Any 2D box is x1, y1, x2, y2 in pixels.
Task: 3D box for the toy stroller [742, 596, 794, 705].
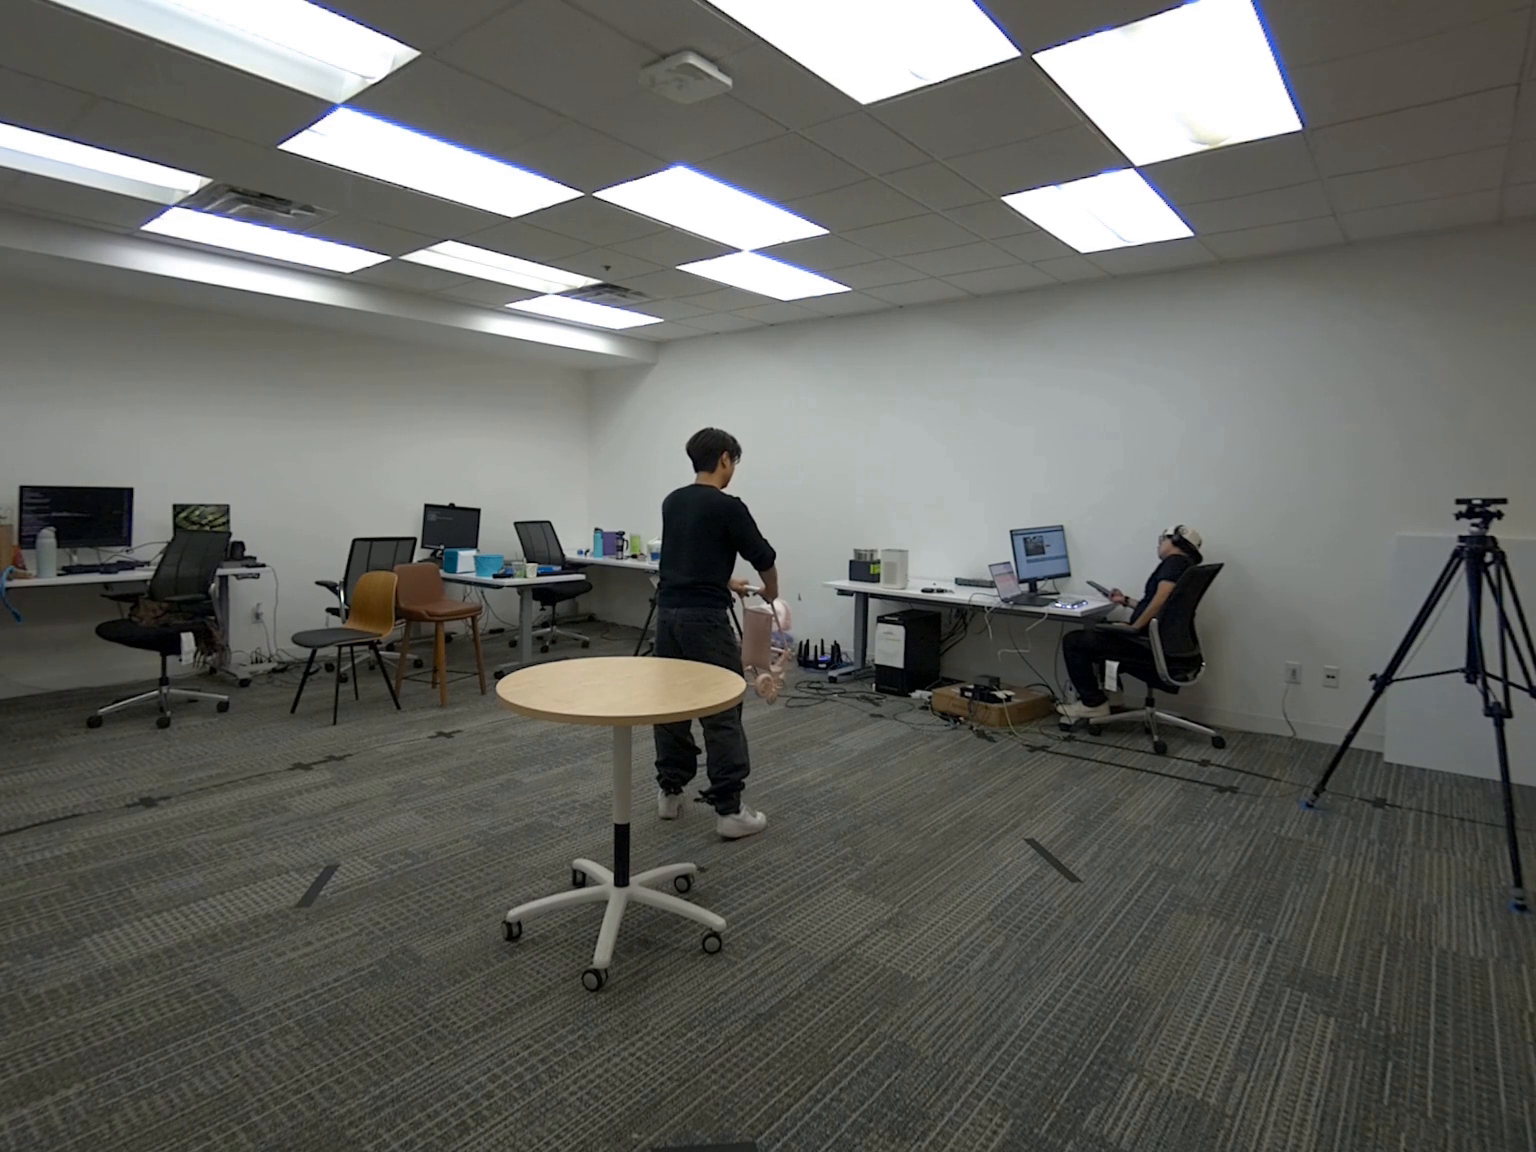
[{"bbox_3d":[-0.029,0.330,3.961,0.291,0.536,0.329,8,-3,43],"label":"toy stroller"}]
